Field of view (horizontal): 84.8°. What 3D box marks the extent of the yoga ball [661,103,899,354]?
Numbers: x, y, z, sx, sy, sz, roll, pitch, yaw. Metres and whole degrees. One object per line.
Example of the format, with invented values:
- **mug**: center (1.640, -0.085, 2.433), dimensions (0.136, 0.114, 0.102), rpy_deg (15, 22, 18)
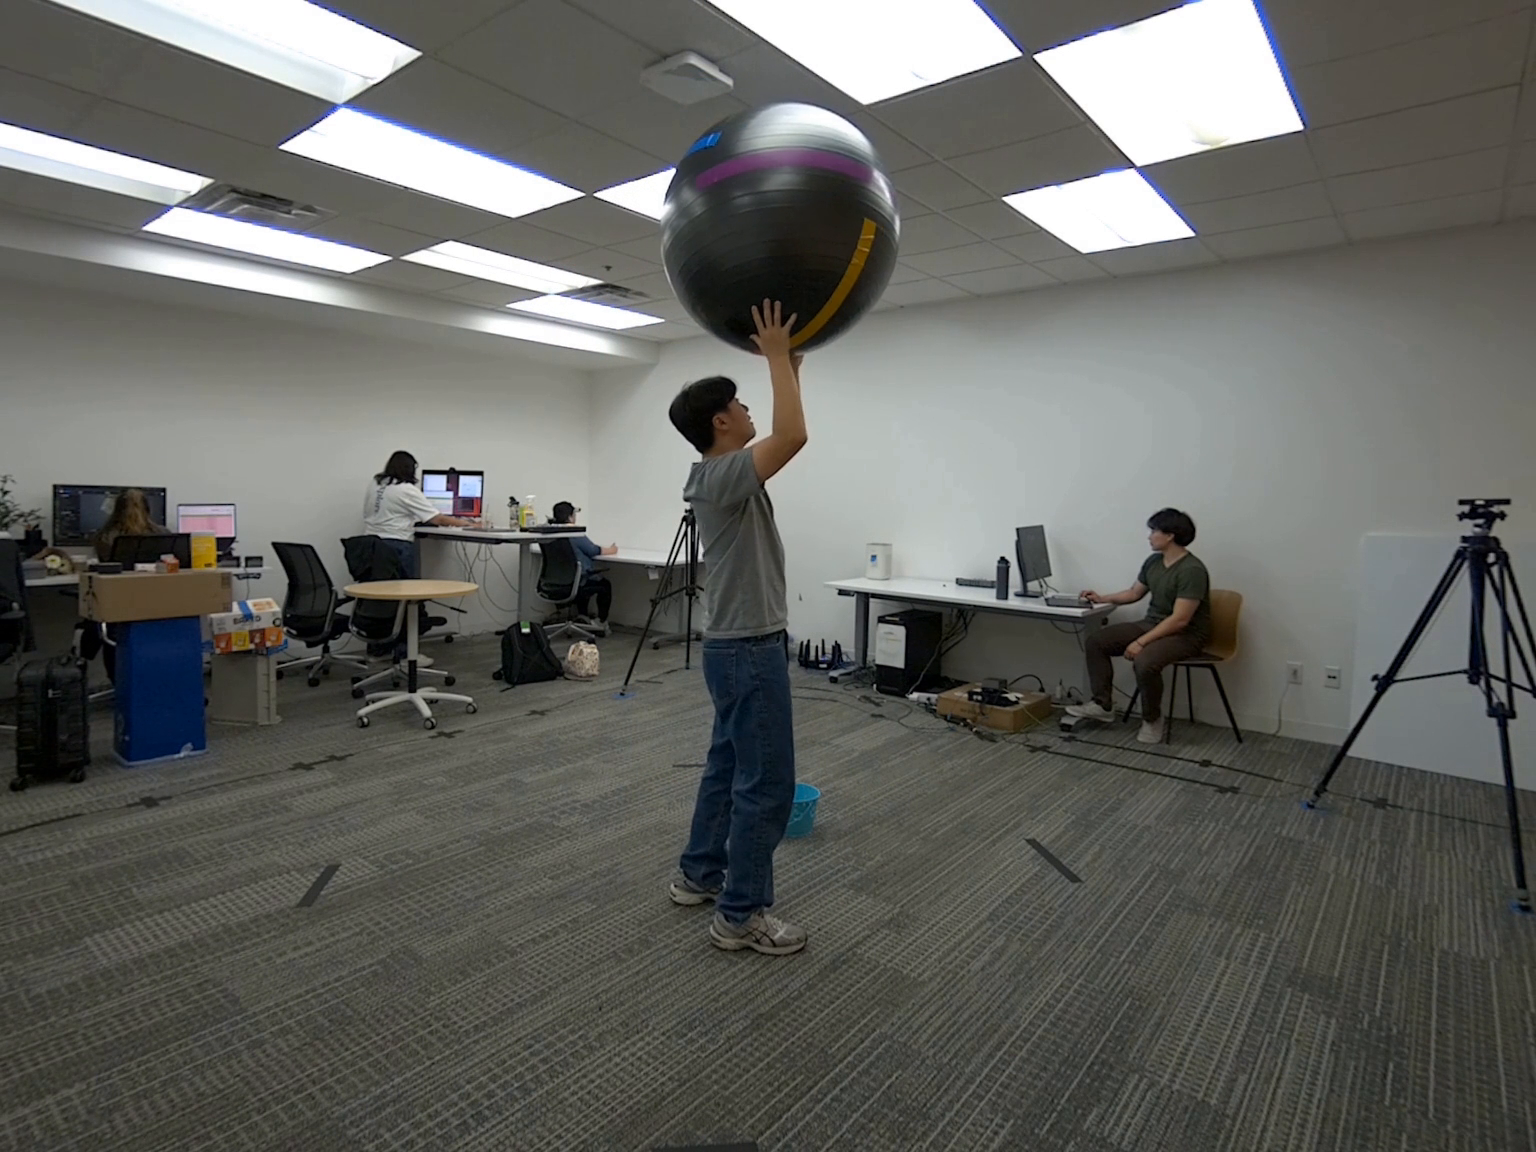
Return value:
- **yoga ball**: center (0.016, -1.084, 2.703), dimensions (0.757, 0.756, 0.761), rpy_deg (1, 4, -2)
